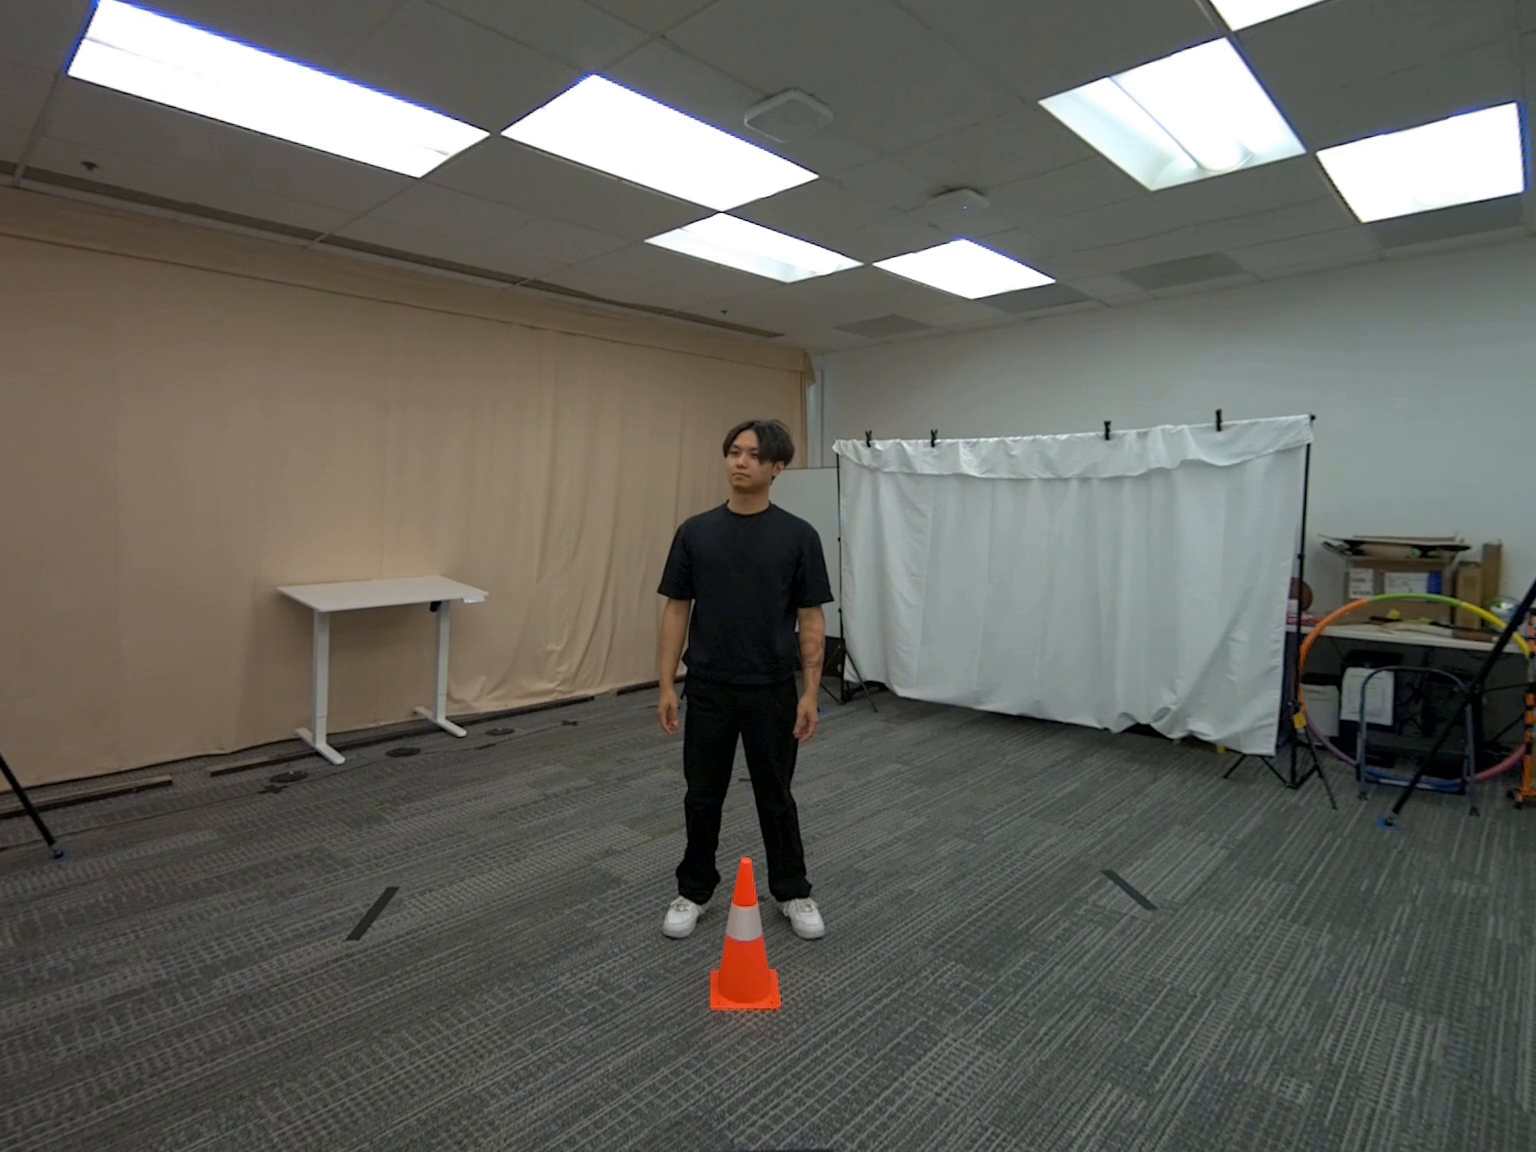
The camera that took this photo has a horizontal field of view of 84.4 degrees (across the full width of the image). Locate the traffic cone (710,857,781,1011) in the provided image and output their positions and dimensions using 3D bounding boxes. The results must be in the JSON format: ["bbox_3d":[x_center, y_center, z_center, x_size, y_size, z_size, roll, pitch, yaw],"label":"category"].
[{"bbox_3d":[-0.070,1.006,2.414,0.204,0.383,0.204,-1,1,-3],"label":"traffic cone"}]
